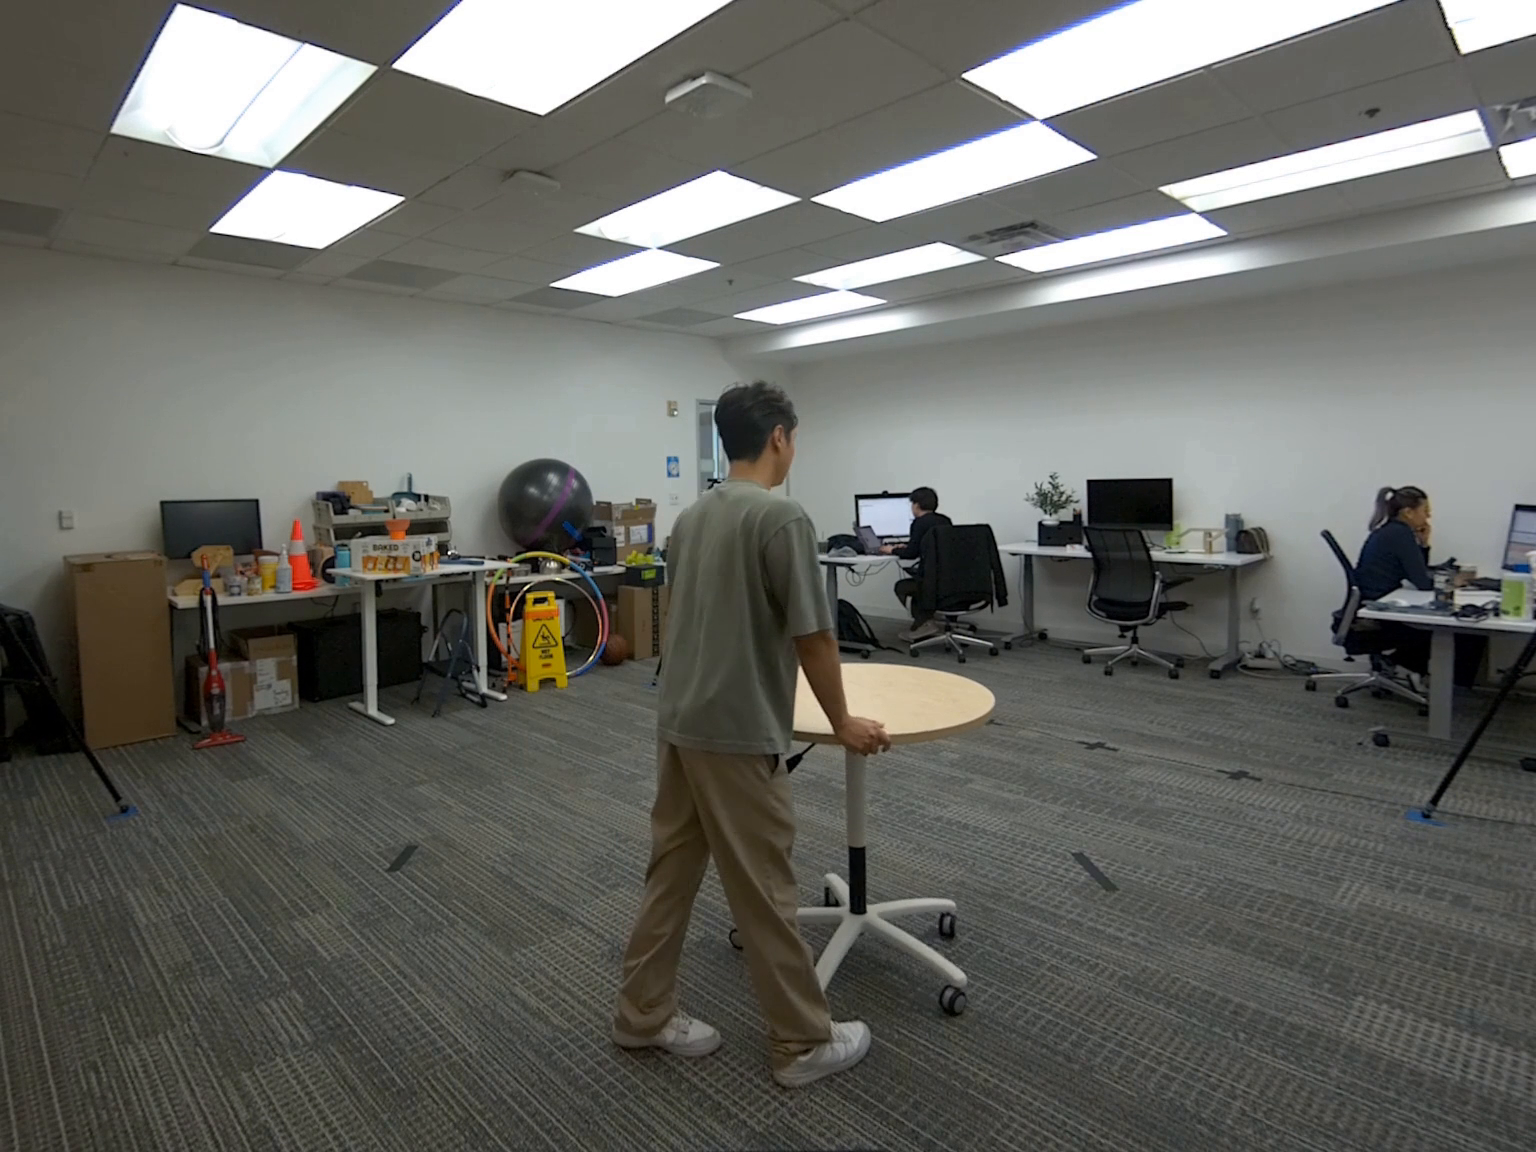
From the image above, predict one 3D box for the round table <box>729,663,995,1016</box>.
[{"bbox_3d":[0.275,0.721,2.471,0.785,0.783,0.790,-2,6,-1],"label":"round table"}]
